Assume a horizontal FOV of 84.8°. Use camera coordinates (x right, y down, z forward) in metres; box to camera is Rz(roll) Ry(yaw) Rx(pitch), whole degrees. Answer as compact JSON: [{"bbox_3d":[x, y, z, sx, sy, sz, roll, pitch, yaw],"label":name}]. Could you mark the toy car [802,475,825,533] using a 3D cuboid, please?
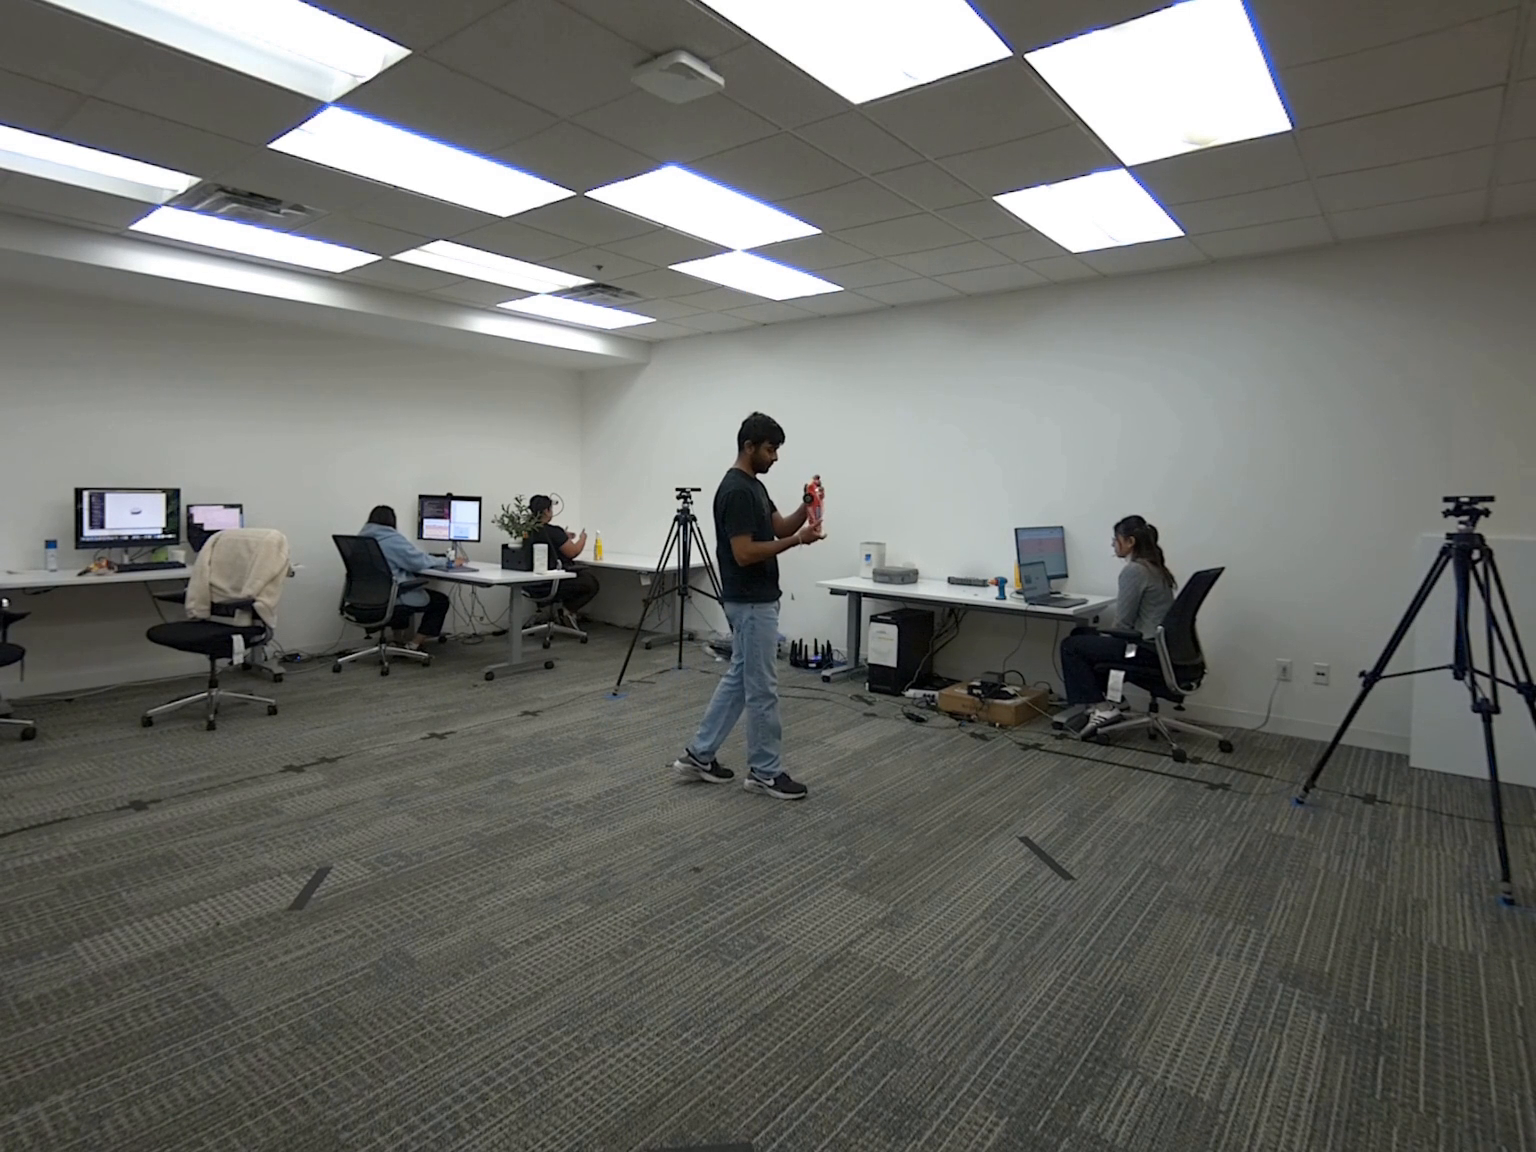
[{"bbox_3d":[0.195,-0.310,3.845,0.084,0.253,0.129,6,7,12],"label":"toy car"}]
